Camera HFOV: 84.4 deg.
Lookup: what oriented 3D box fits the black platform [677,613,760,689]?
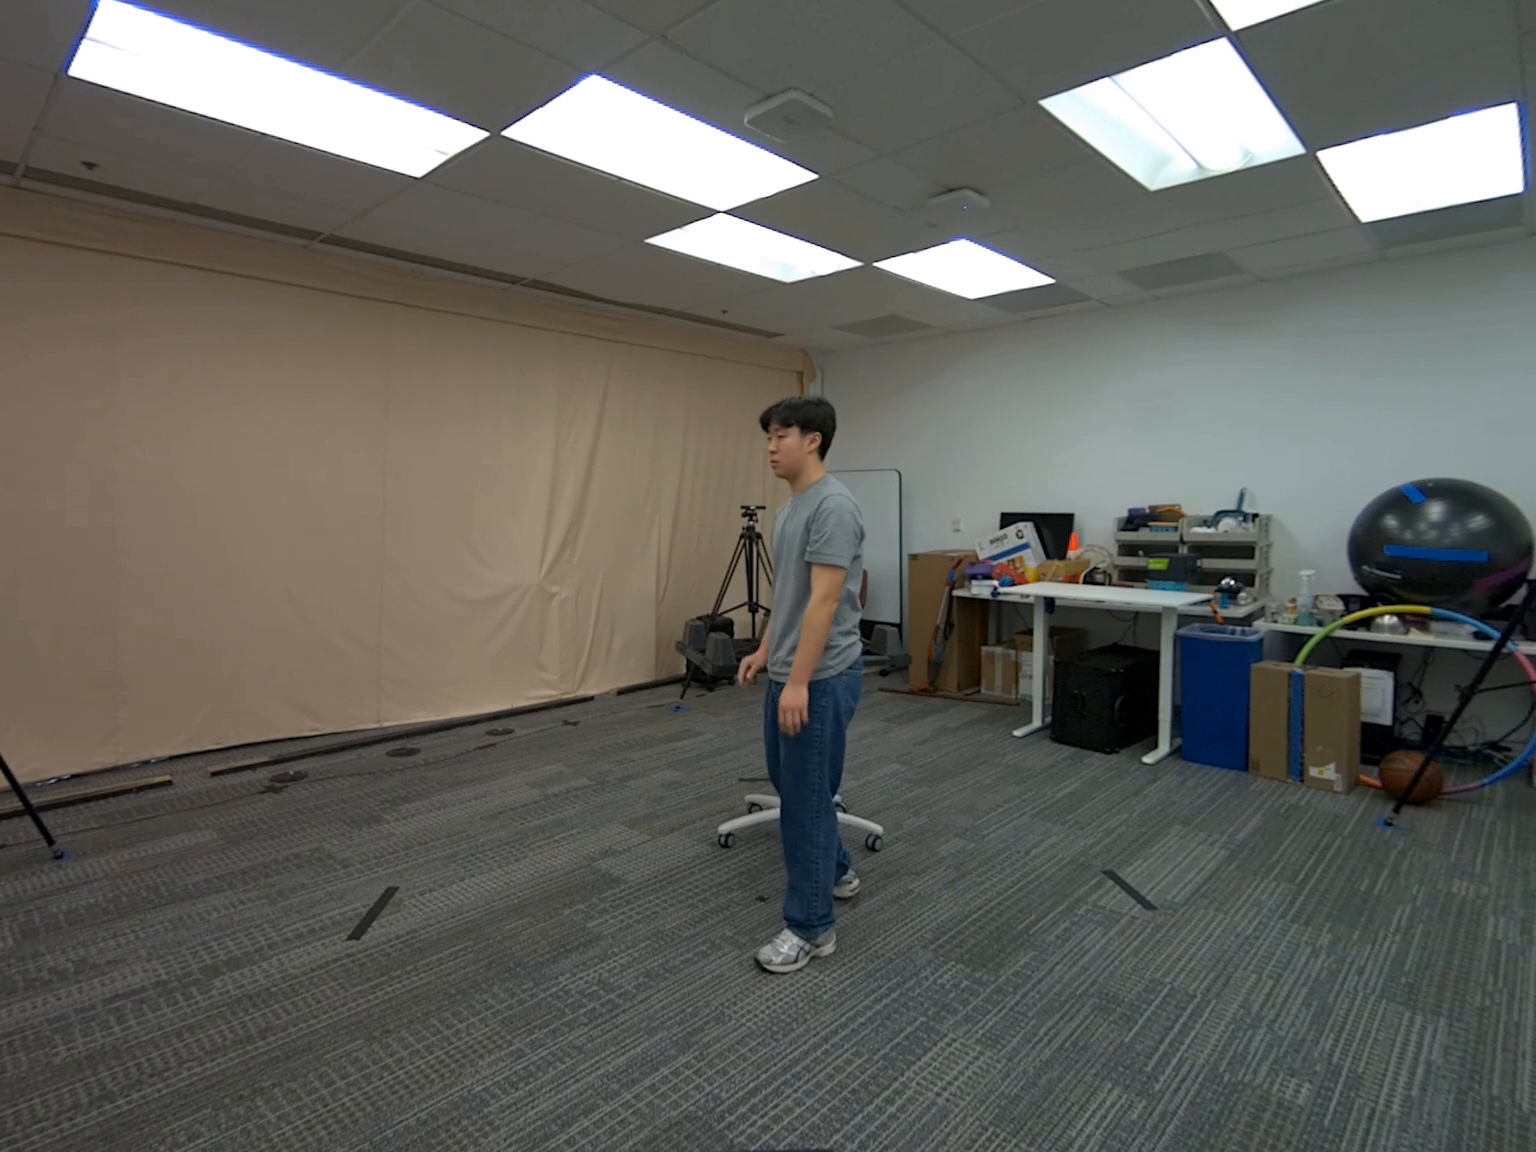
[{"bbox_3d":[0.080,0.262,3.378,0.791,0.143,0.617,-2,5,-18],"label":"black platform"}]
